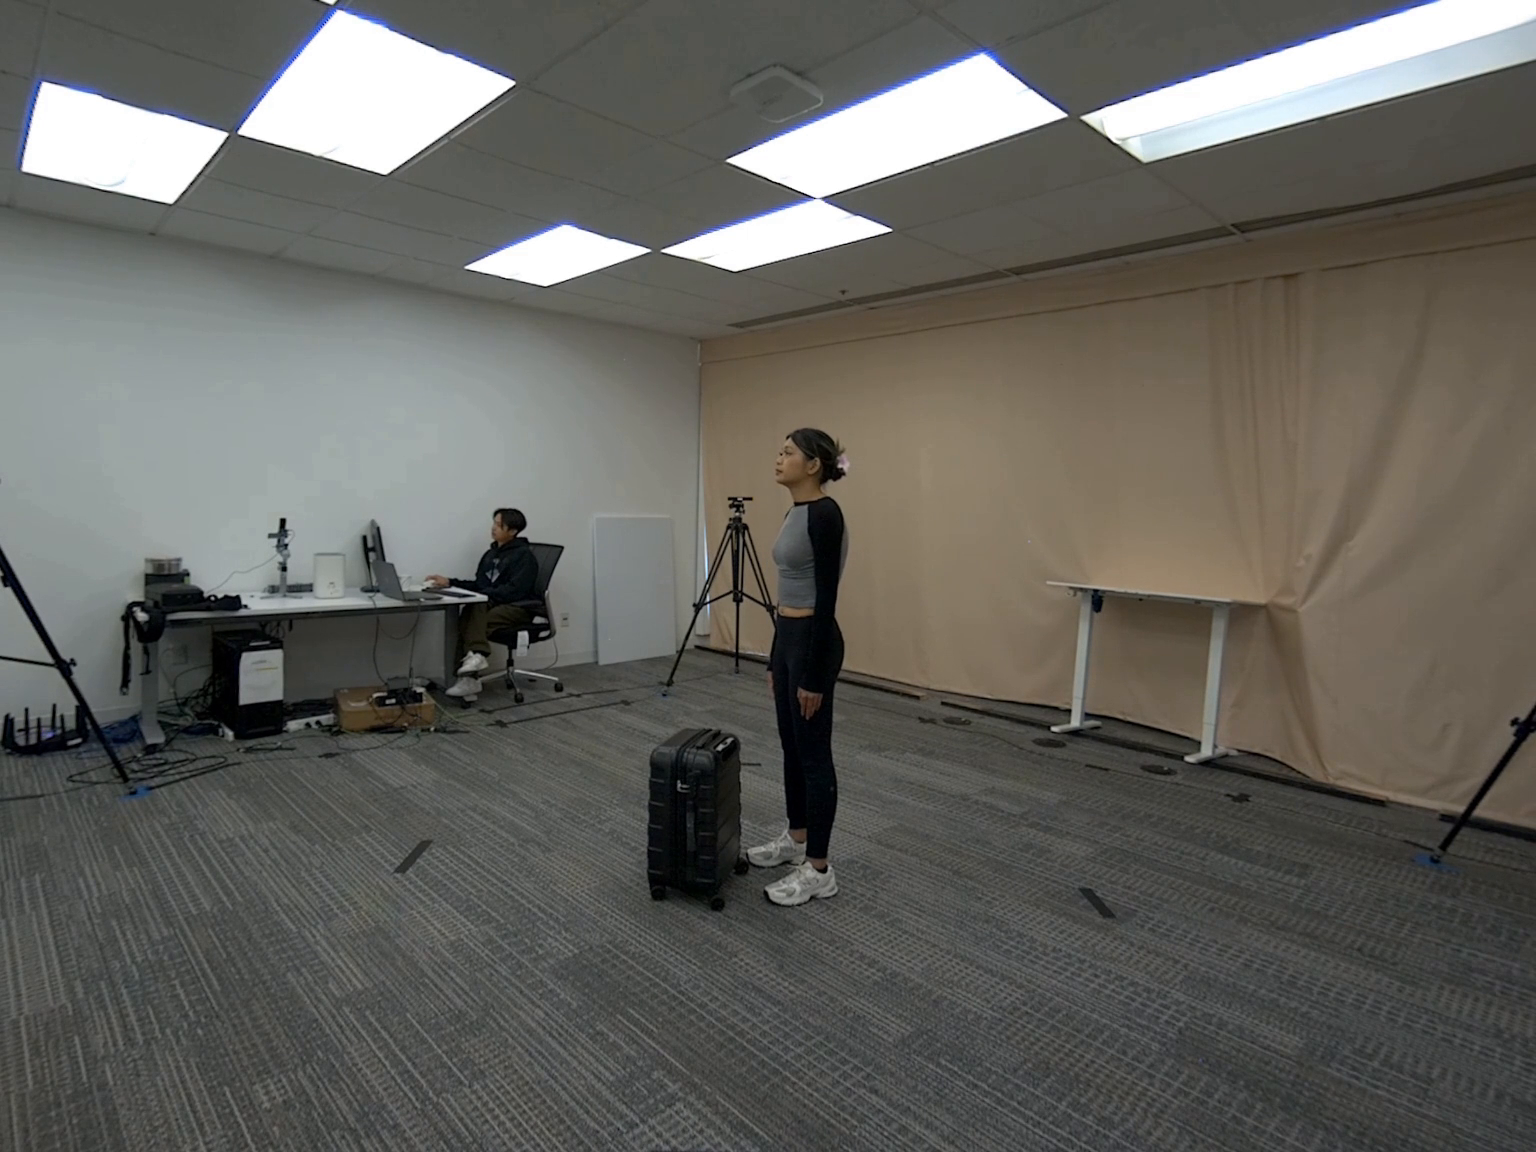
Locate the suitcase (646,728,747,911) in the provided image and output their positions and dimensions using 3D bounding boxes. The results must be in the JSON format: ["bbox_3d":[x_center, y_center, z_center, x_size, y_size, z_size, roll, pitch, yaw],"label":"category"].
[{"bbox_3d":[-0.261,0.838,3.002,0.252,0.548,0.371,1,4,18],"label":"suitcase"}]
